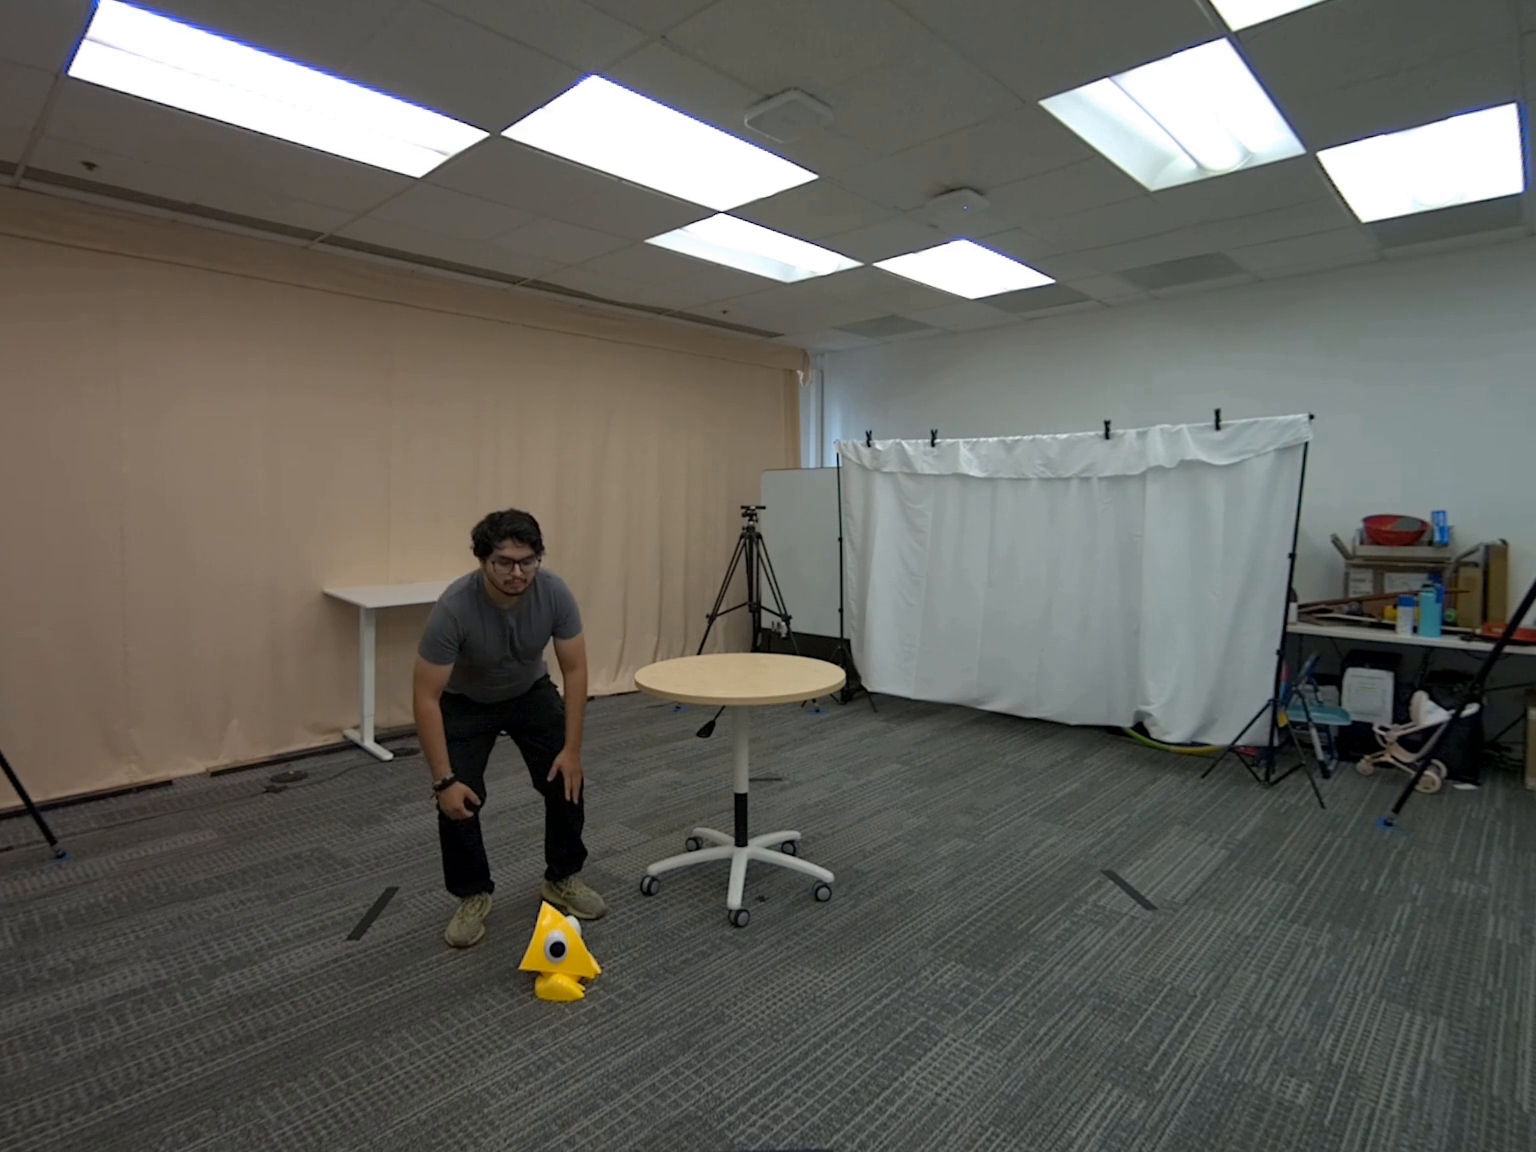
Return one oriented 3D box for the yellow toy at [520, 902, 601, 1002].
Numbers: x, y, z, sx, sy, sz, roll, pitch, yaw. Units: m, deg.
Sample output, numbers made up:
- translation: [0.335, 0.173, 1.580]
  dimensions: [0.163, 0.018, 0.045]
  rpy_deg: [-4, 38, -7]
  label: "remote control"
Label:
- translation: [-0.601, 1.080, 2.464]
  dimensions: [0.196, 0.230, 0.202]
  rpy_deg: [-2, 4, 12]
  label: "yellow toy"
